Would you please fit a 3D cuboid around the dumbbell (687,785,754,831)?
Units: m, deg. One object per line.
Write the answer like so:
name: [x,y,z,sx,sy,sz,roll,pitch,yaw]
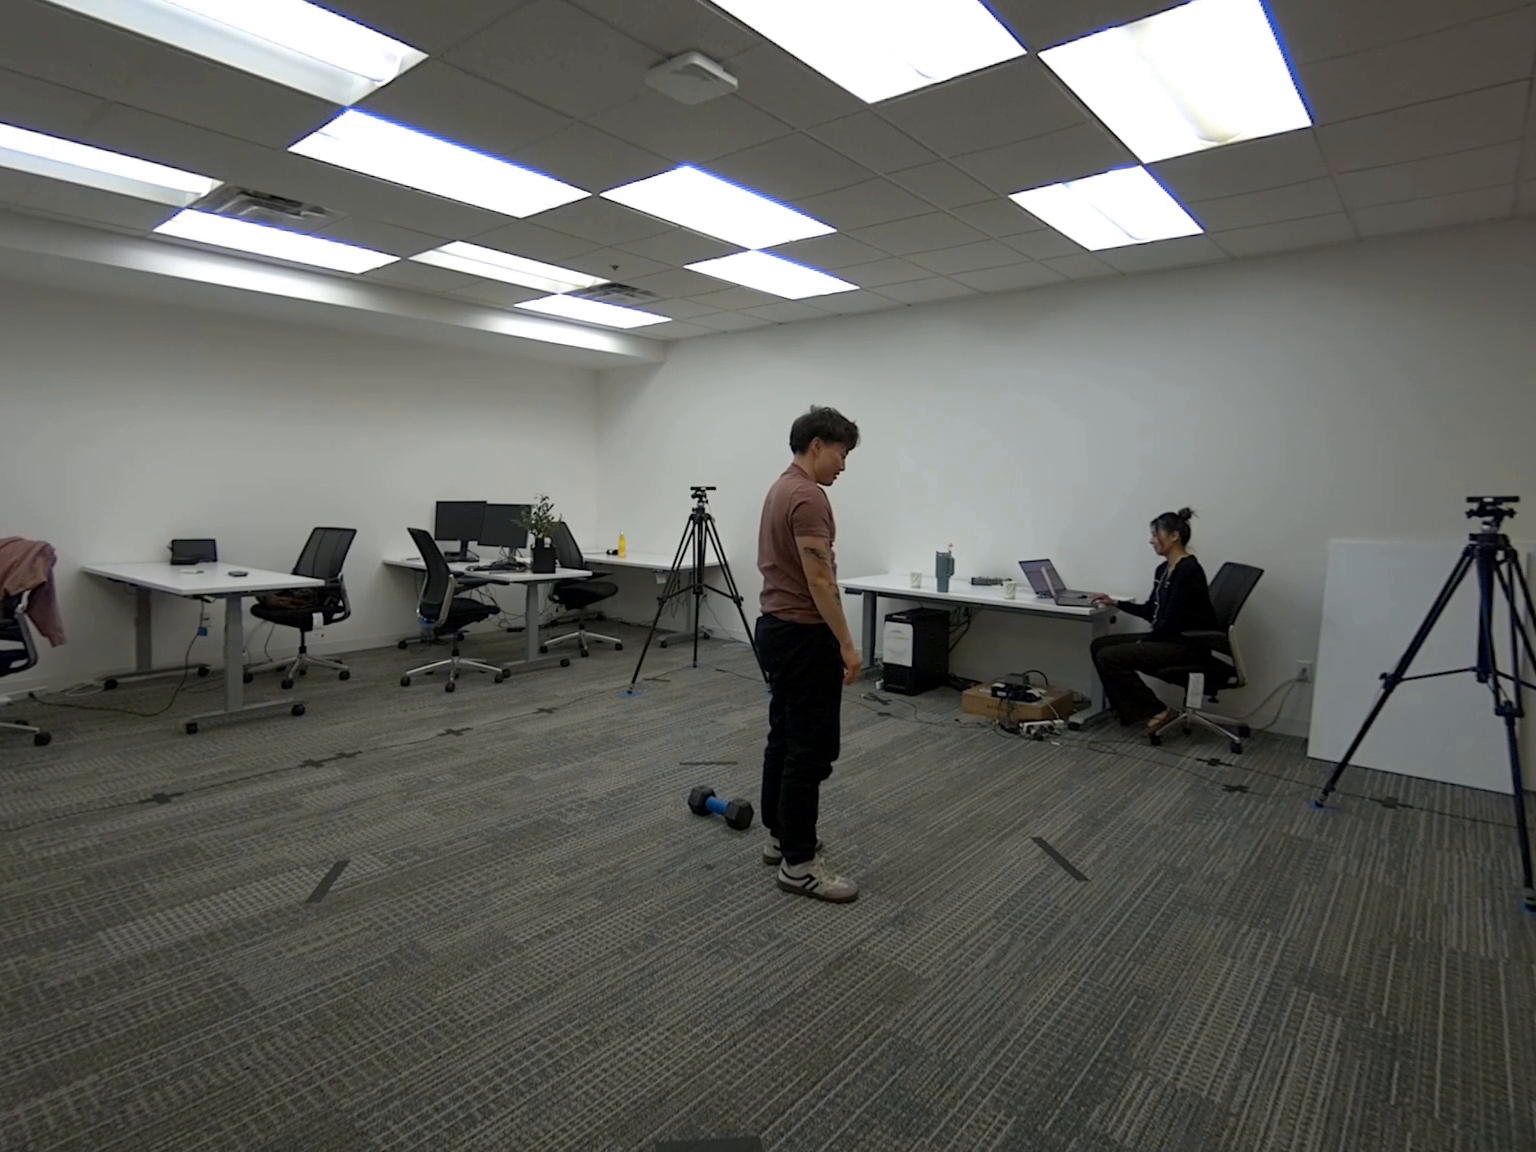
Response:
dumbbell: [-0.210,0.964,3.565,0.303,0.124,0.104,5,-25,41]
